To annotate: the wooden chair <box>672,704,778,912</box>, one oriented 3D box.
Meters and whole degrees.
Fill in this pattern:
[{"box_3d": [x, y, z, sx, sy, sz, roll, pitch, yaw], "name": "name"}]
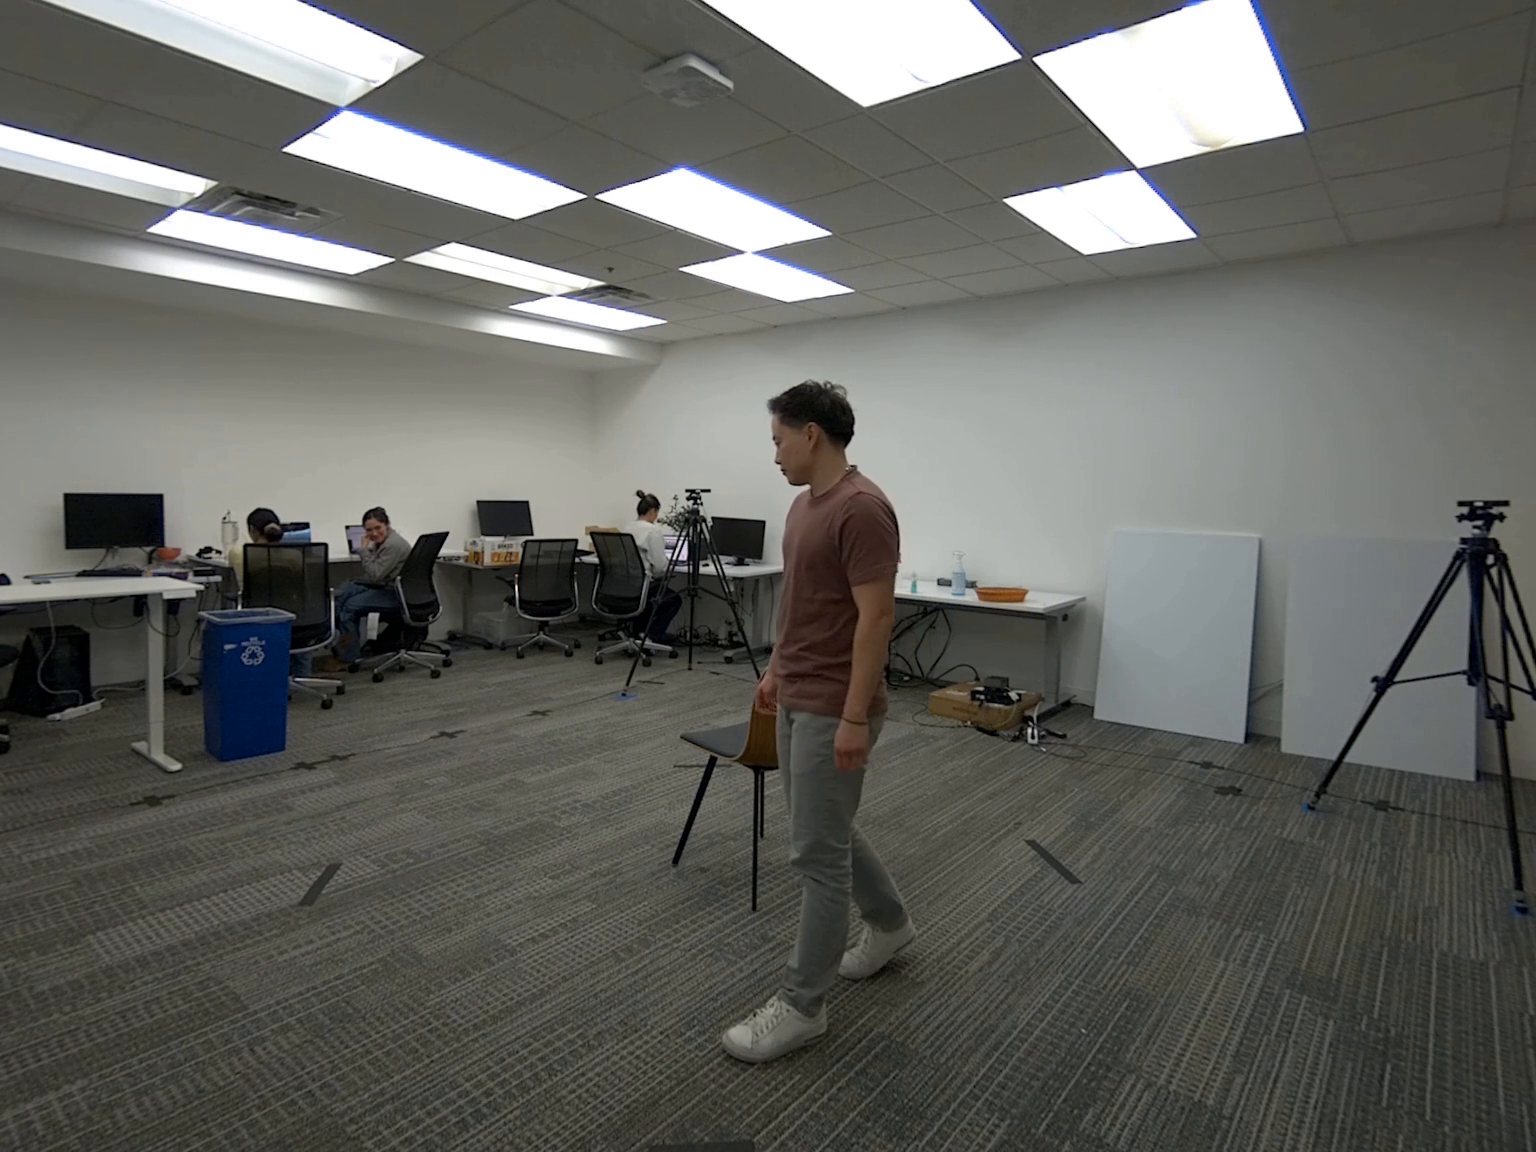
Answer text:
[{"box_3d": [-0.040, 0.651, 3.099, 0.463, 0.873, 0.542, -1, 8, -42], "name": "wooden chair"}]
